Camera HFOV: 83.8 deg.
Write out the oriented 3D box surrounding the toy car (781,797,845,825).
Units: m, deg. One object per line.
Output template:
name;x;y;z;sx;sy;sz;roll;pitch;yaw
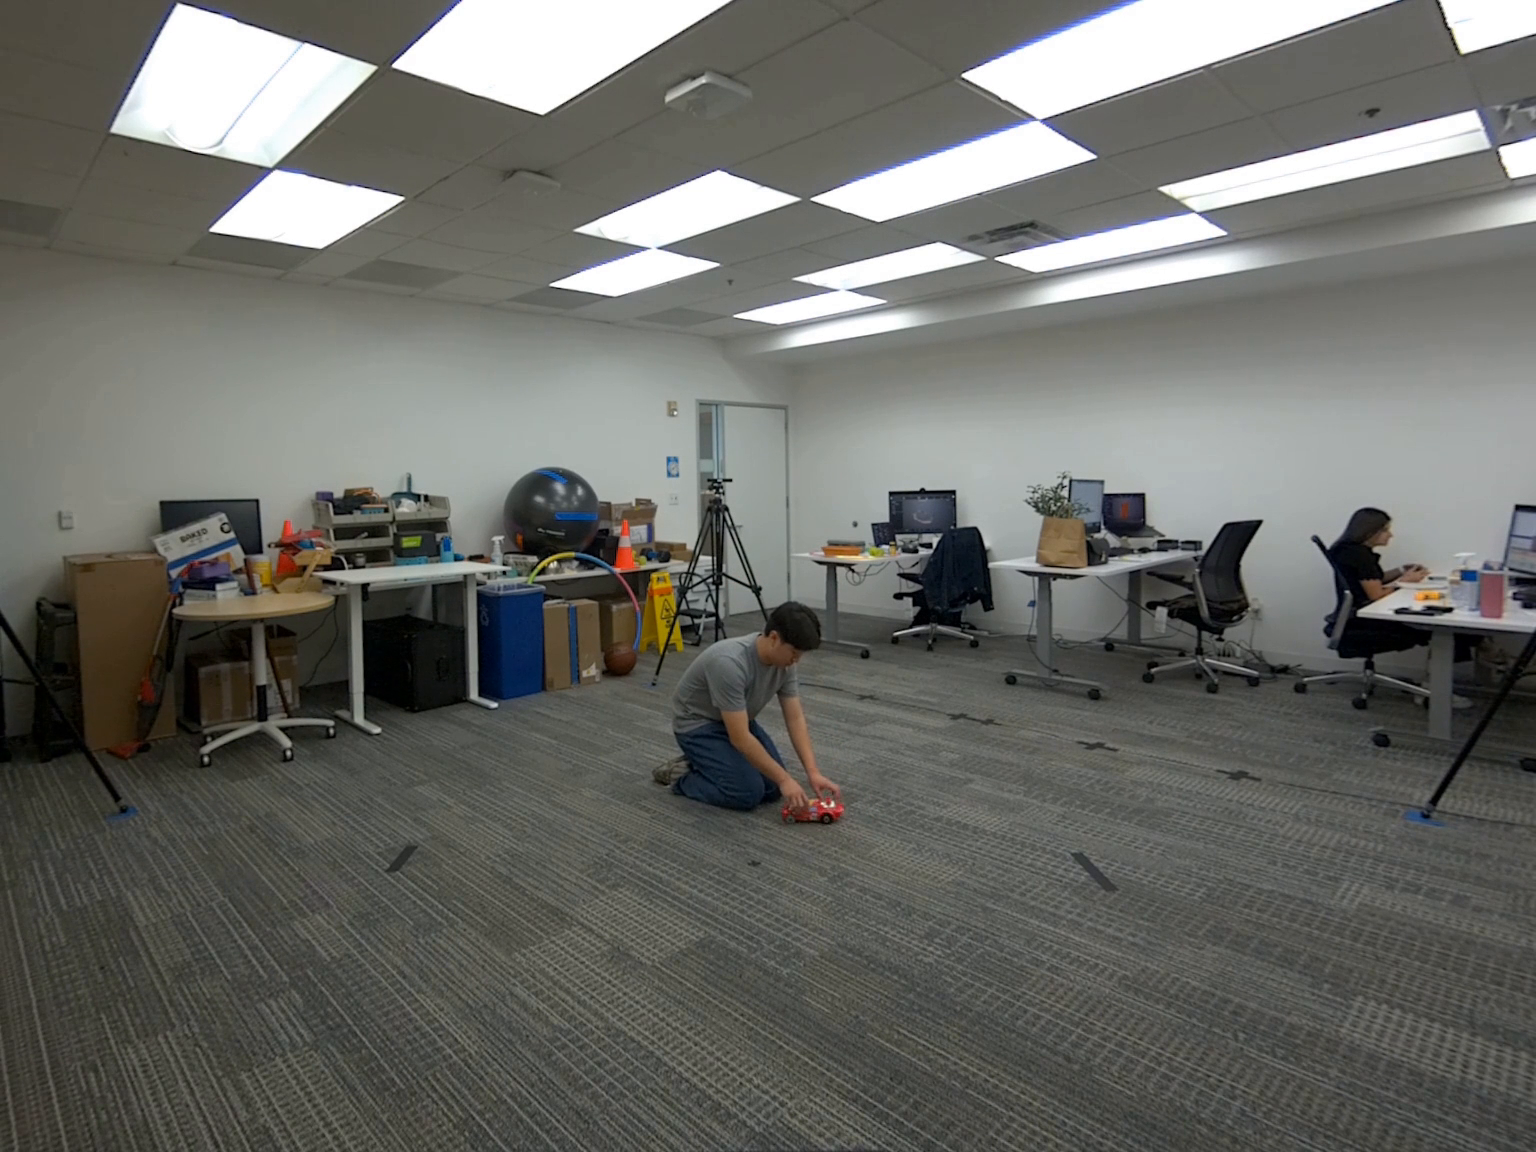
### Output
toy car;0.196;0.966;3.499;0.255;0.083;0.130;-14;5;5
